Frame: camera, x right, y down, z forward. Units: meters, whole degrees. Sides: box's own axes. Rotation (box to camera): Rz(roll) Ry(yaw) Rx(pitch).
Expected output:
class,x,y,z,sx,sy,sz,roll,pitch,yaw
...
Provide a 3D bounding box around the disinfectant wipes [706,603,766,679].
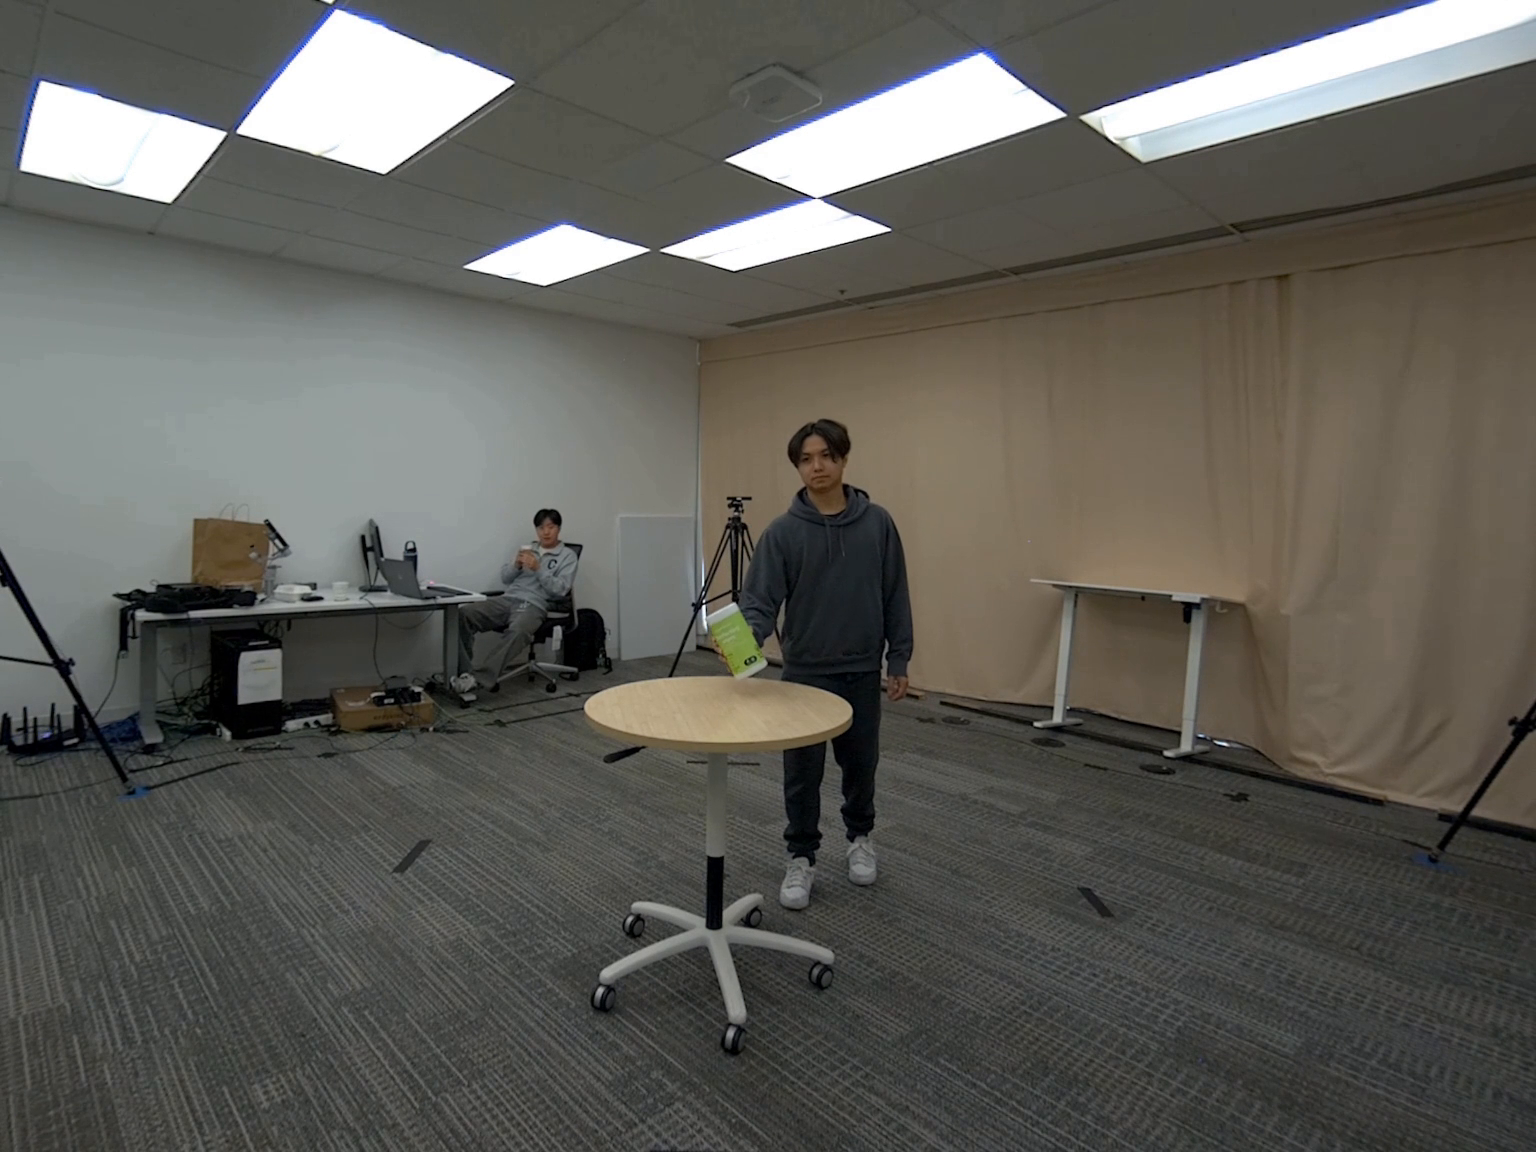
class,x,y,z,sx,sy,sz,roll,pitch,yaw
disinfectant wipes,-0.105,0.201,2.551,0.117,0.218,0.117,-27,-3,-2
